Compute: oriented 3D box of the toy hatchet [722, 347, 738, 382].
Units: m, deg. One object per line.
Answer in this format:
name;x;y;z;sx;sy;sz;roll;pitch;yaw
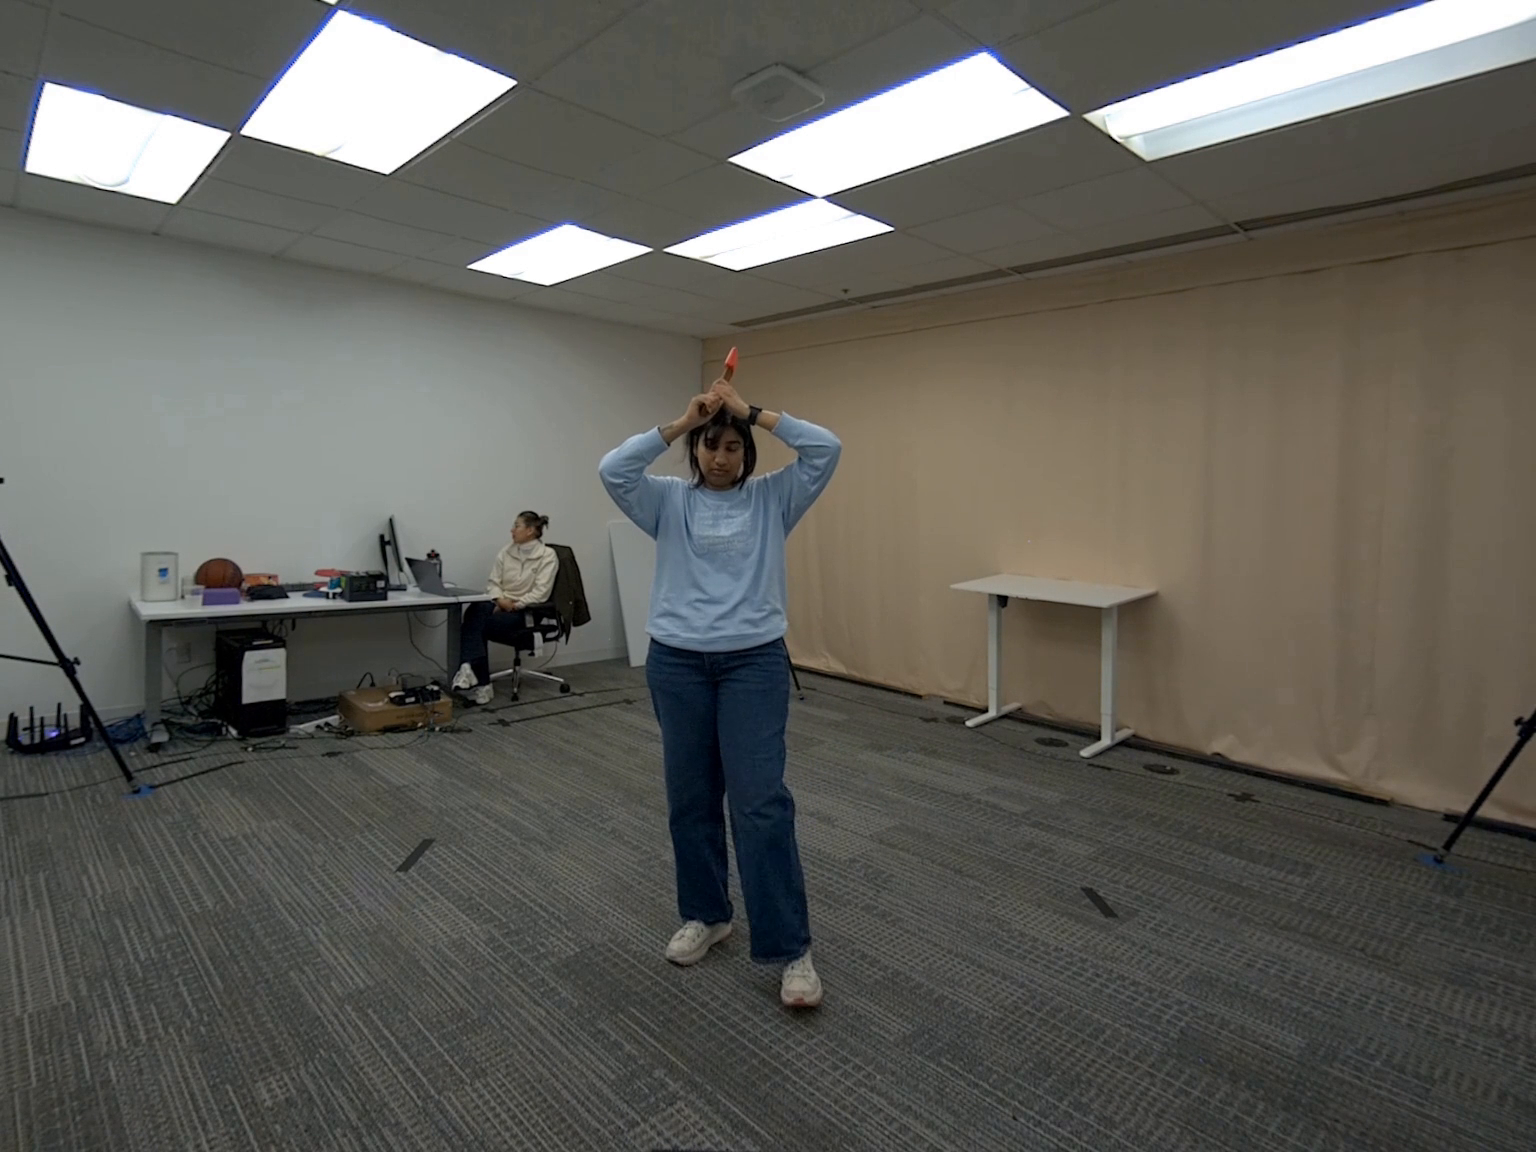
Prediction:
toy hatchet;-0.139;-0.562;2.376;0.030;0.129;0.272;20;37;4
